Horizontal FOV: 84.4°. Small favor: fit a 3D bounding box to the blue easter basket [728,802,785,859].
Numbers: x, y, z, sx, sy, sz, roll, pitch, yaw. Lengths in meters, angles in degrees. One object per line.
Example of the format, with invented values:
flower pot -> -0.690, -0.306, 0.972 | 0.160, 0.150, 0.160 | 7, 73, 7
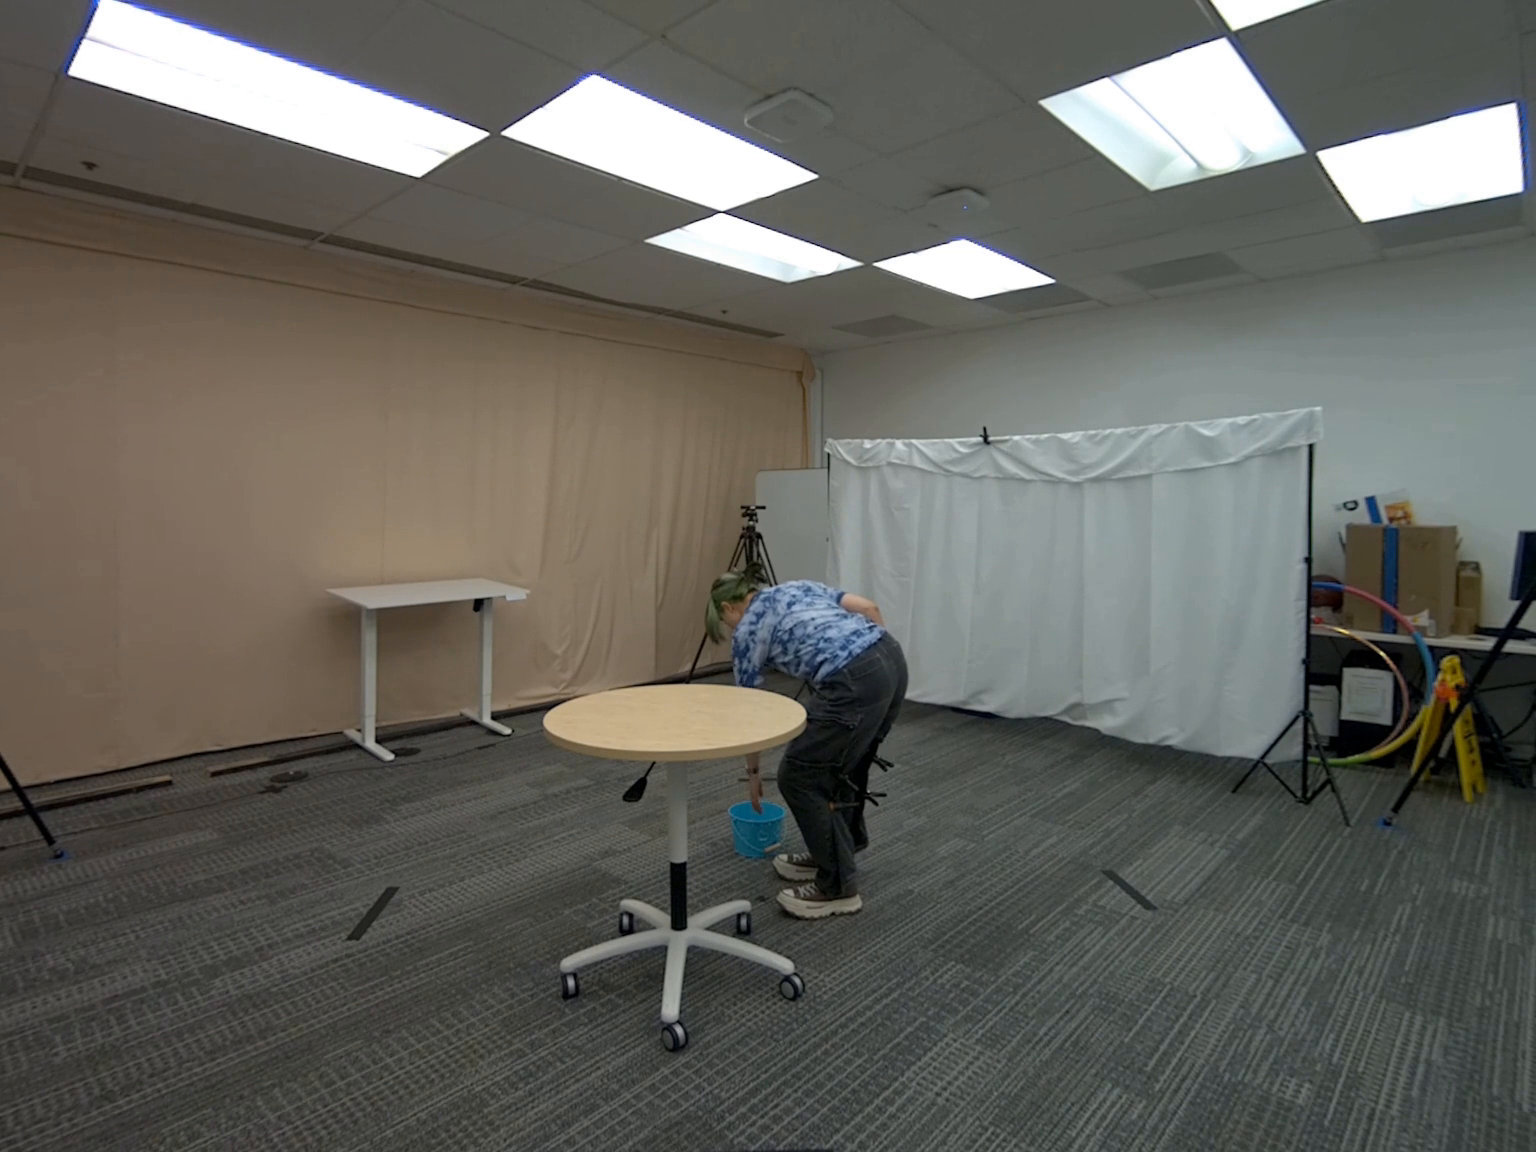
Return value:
blue easter basket -> -0.047, 1.028, 3.417 | 0.243, 0.155, 0.244 | -1, 4, -2
